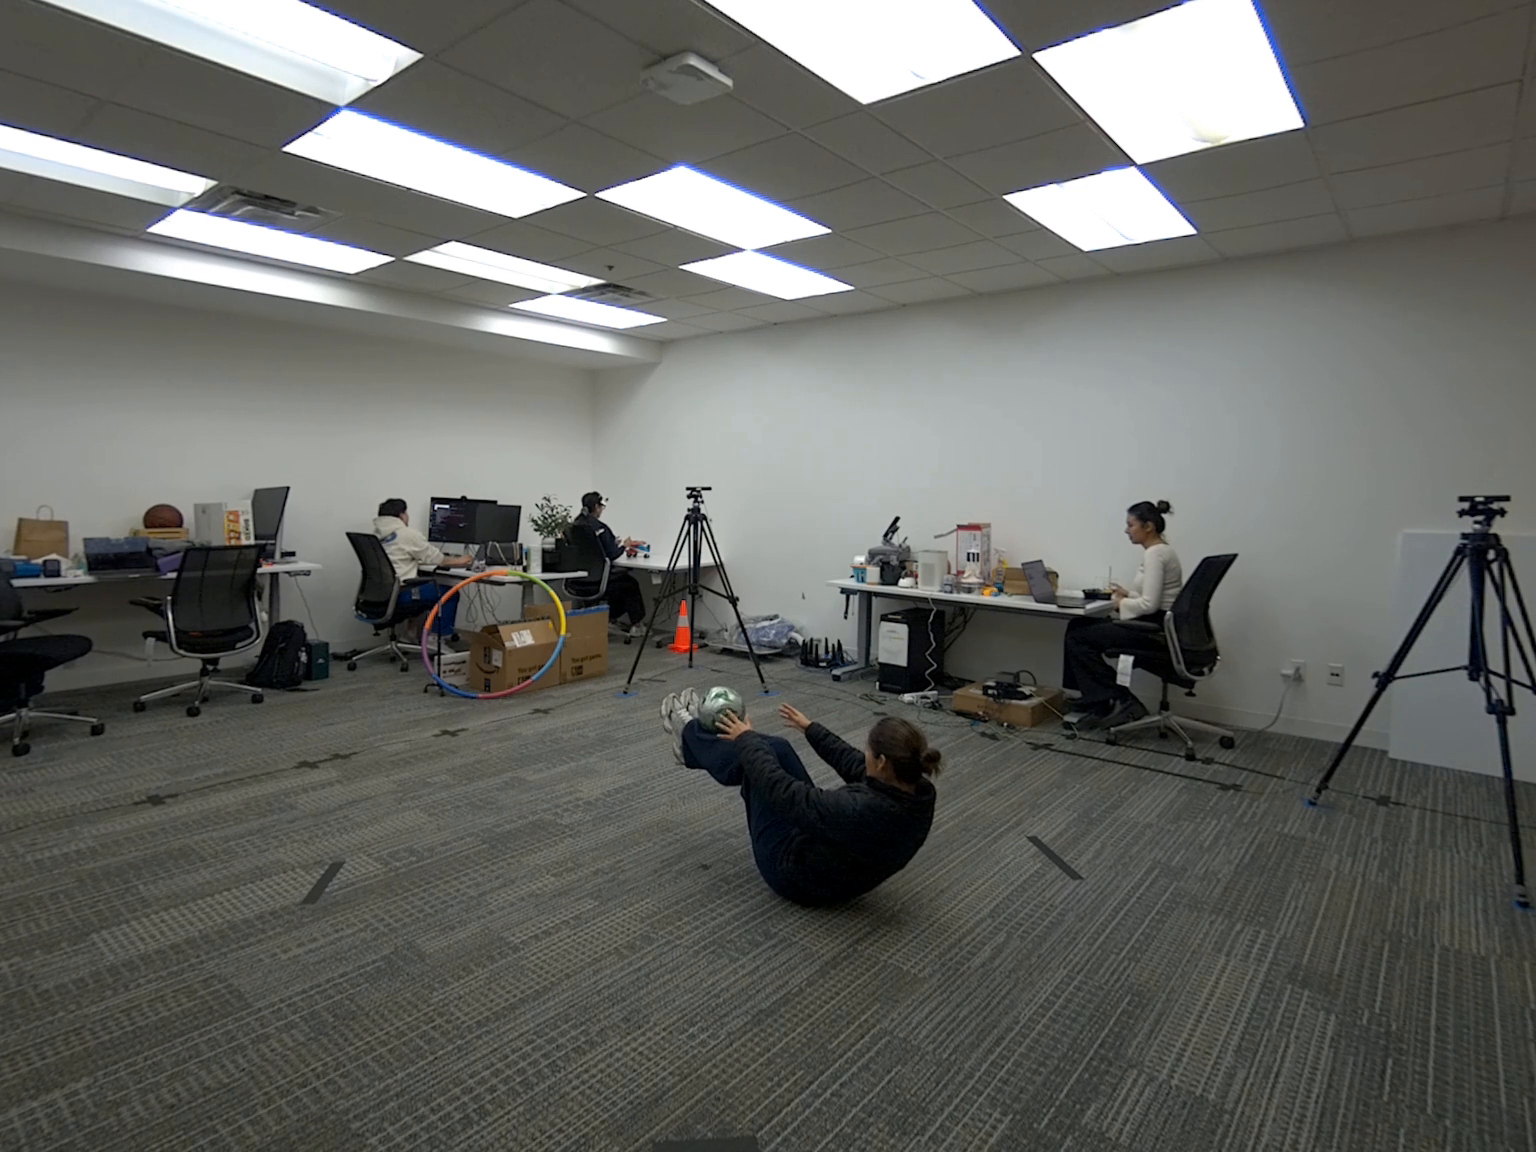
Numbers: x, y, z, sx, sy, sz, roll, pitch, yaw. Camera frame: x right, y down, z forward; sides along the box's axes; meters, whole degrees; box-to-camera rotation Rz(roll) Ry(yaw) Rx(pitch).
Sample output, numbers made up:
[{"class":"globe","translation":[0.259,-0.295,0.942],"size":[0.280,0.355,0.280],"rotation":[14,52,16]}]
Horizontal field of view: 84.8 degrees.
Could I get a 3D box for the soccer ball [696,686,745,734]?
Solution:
[{"class":"soccer ball","translation":[-0.187,0.514,3.276],"size":[0.187,0.187,0.188],"rotation":[-3,3,-2]}]
